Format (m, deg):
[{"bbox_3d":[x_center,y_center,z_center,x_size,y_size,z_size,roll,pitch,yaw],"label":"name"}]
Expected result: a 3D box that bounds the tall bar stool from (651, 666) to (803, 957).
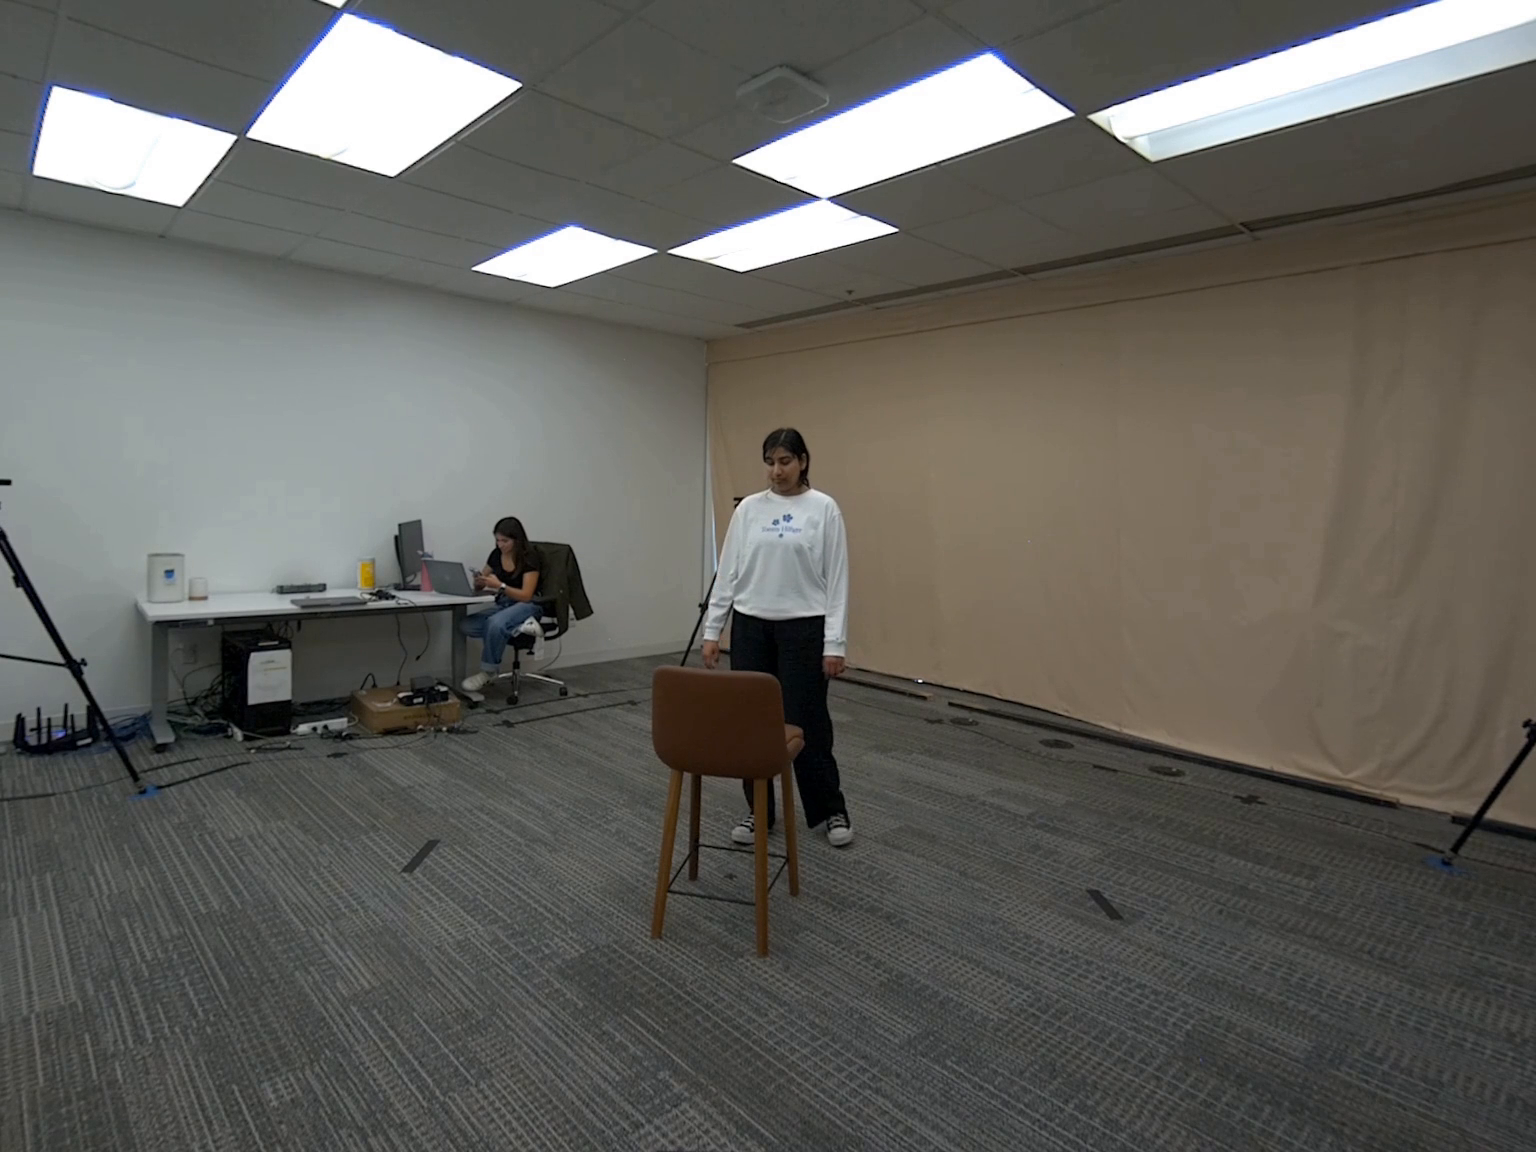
[{"bbox_3d":[-0.139,0.705,2.789,0.462,0.886,0.463,2,5,15],"label":"tall bar stool"}]
